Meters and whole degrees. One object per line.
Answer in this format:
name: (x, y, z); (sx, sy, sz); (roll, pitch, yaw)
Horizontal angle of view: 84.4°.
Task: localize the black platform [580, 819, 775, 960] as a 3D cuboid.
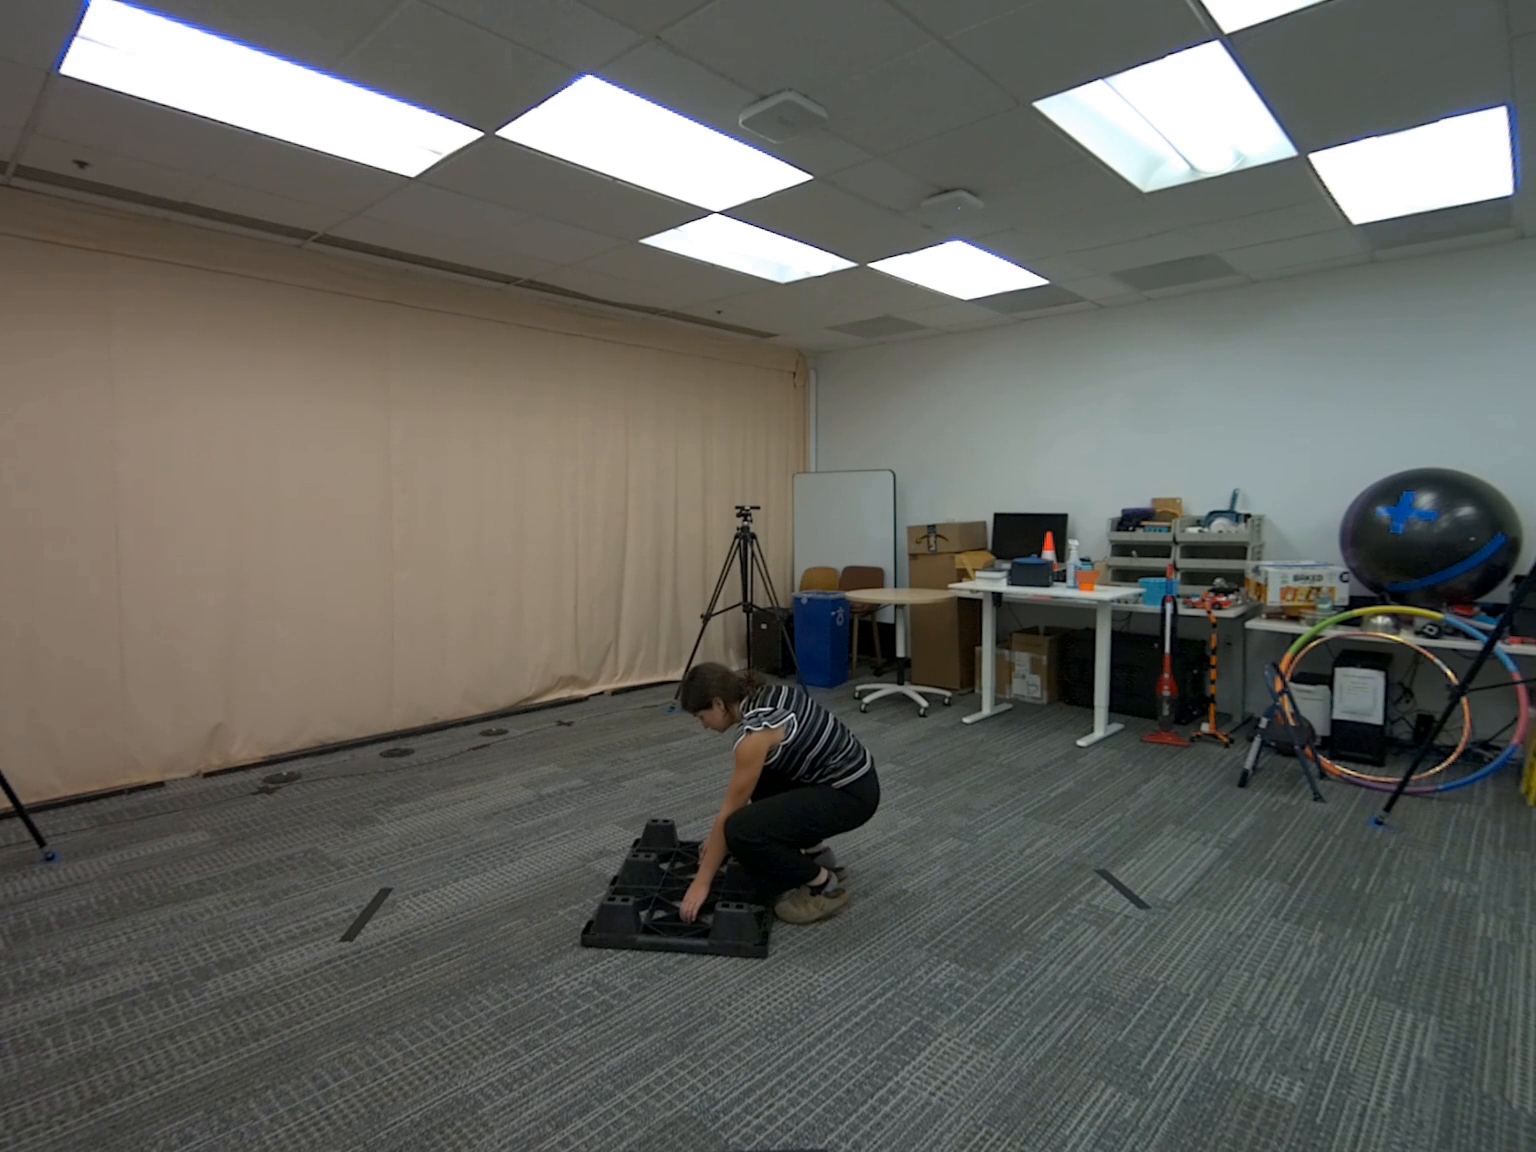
black platform: (-0.274, 1.071, 3.016); (0.609, 0.143, 0.802); (0, 5, 5)
